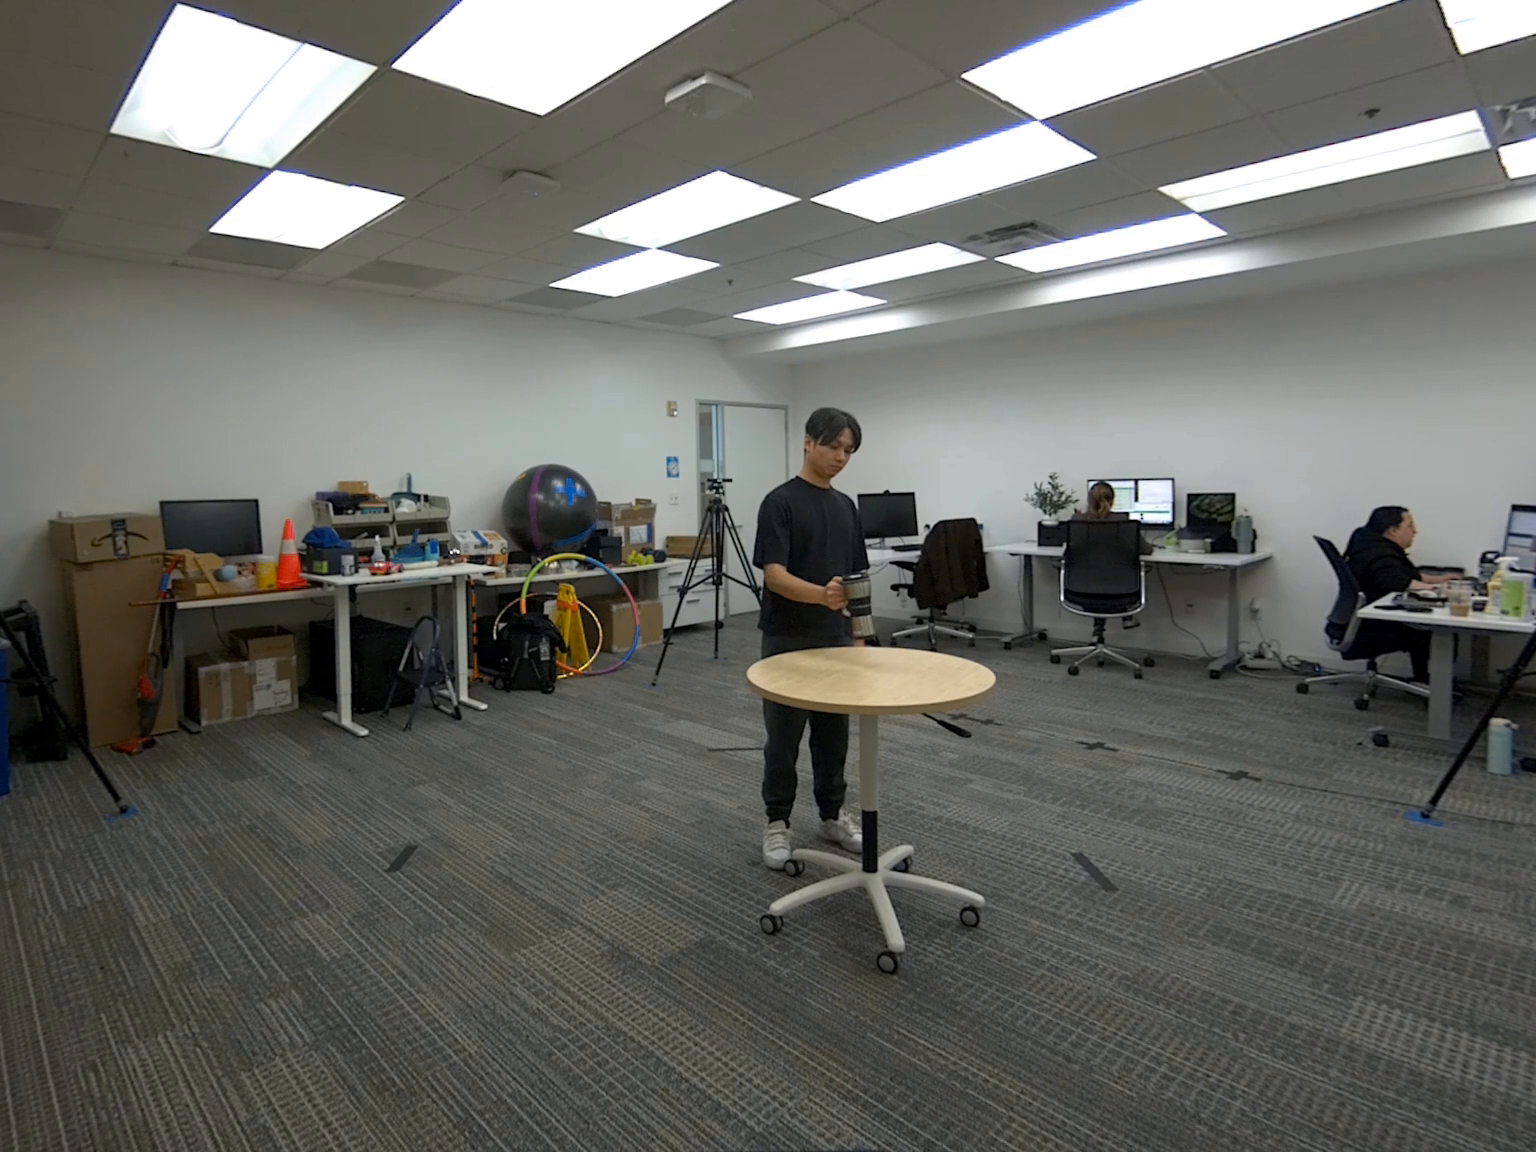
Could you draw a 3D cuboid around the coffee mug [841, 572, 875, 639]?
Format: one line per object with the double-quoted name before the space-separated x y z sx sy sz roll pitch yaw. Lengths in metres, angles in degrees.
"coffee mug" 0.280 0.096 2.734 0.086 0.202 0.125 -11 4 -33
